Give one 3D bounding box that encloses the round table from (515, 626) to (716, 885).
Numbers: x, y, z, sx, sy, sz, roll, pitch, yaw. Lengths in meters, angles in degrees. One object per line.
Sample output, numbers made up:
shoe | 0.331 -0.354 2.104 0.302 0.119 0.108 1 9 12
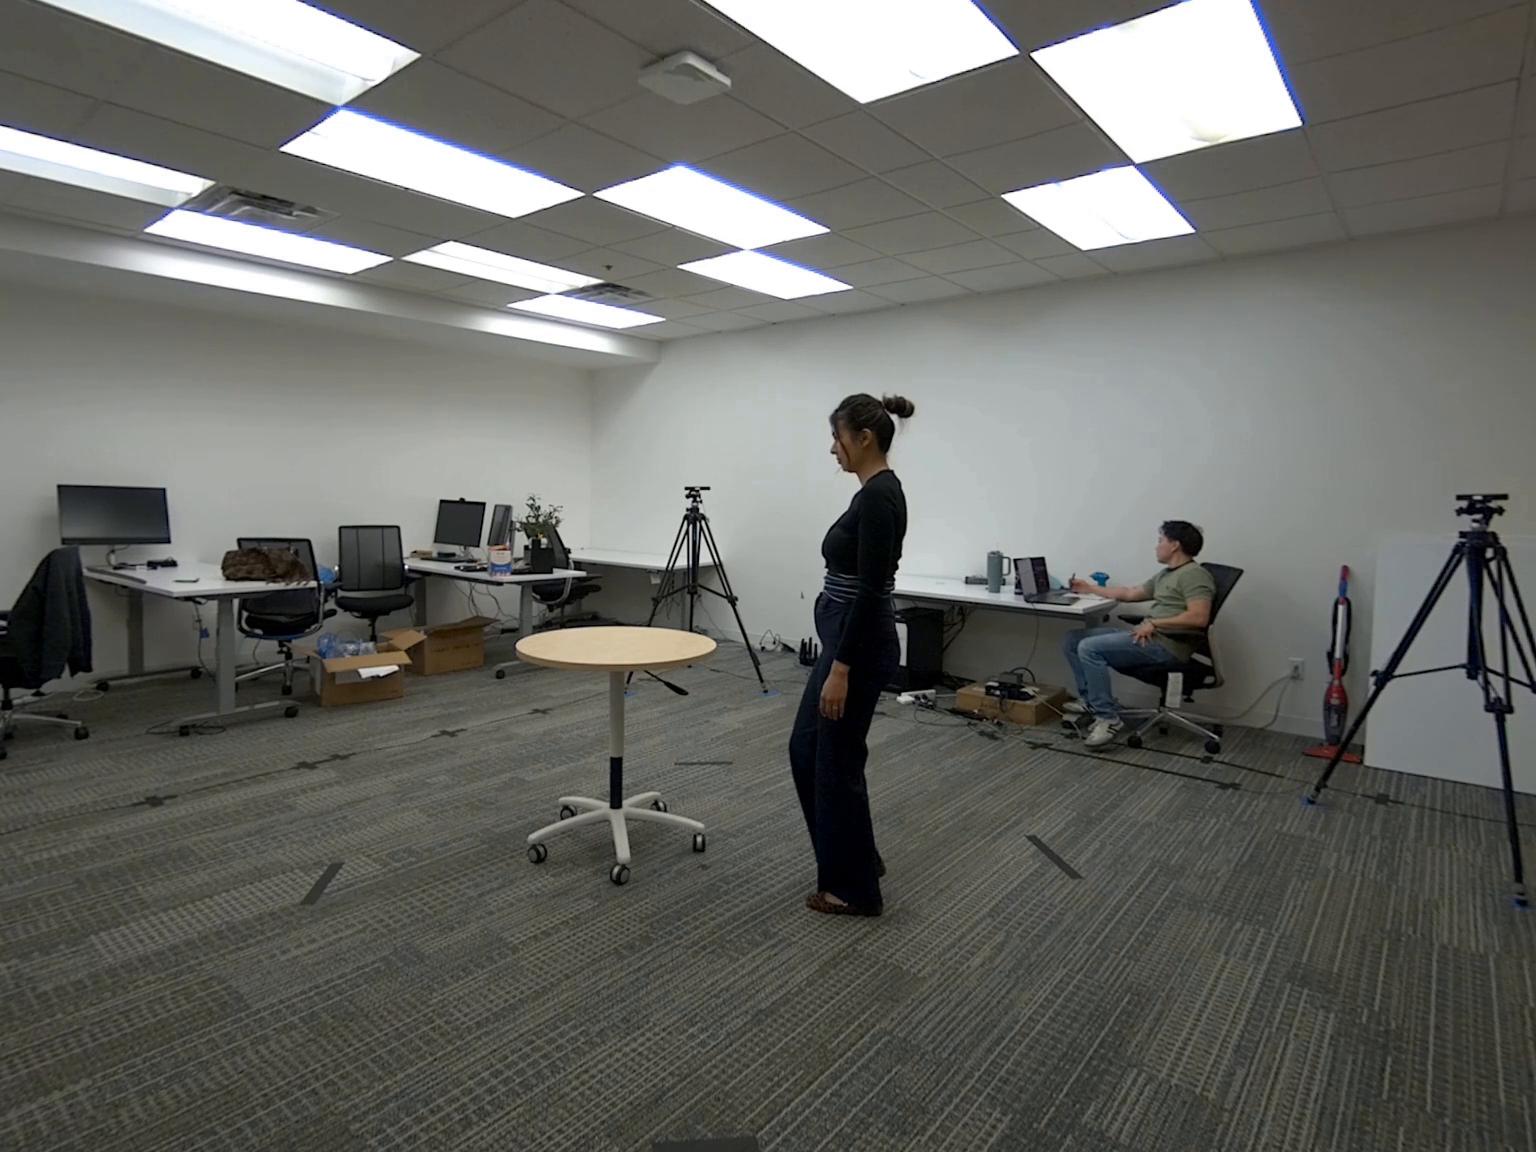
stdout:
round table | -0.604 0.652 3.302 0.763 0.792 0.767 1 4 -2
